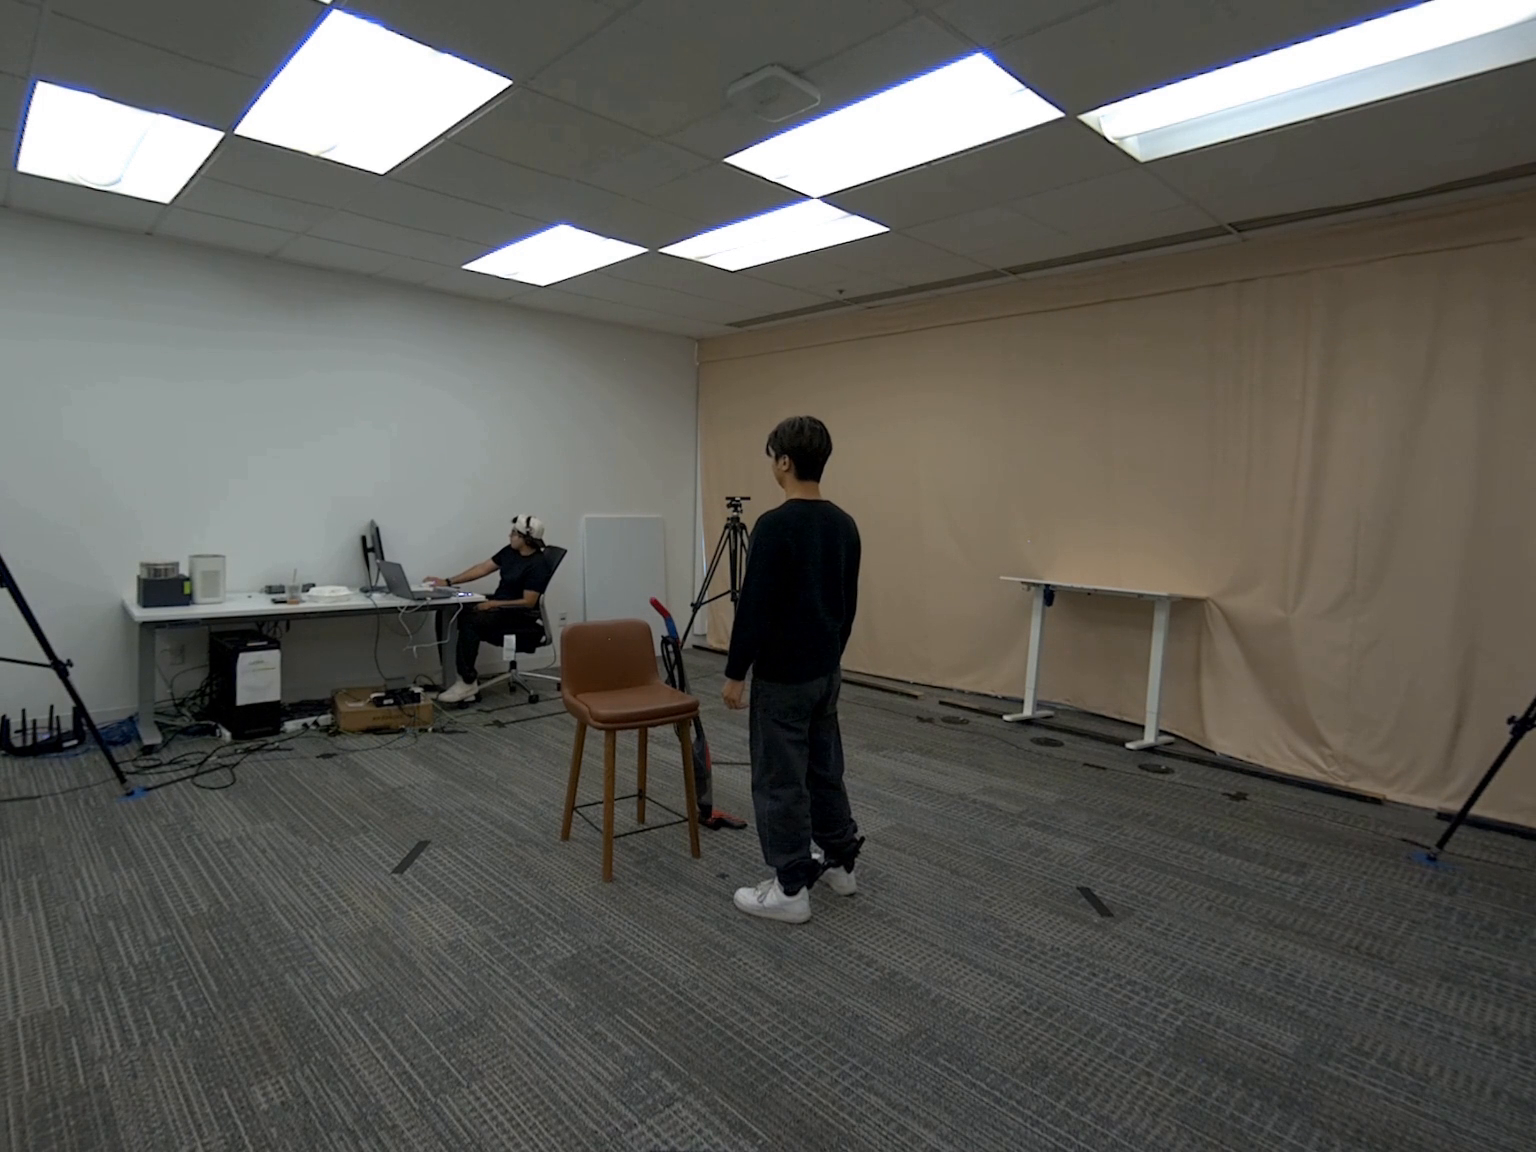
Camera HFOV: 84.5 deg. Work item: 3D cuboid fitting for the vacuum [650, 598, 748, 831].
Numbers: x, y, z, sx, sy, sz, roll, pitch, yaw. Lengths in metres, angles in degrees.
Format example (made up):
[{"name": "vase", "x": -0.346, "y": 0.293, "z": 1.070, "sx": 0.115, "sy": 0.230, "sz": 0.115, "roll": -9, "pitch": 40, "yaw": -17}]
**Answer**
[{"name": "vacuum", "x": -0.346, "y": 0.574, "z": 3.480, "sx": 0.259, "sy": 1.034, "sz": 0.142, "roll": 4, "pitch": 23, "yaw": 44}]
